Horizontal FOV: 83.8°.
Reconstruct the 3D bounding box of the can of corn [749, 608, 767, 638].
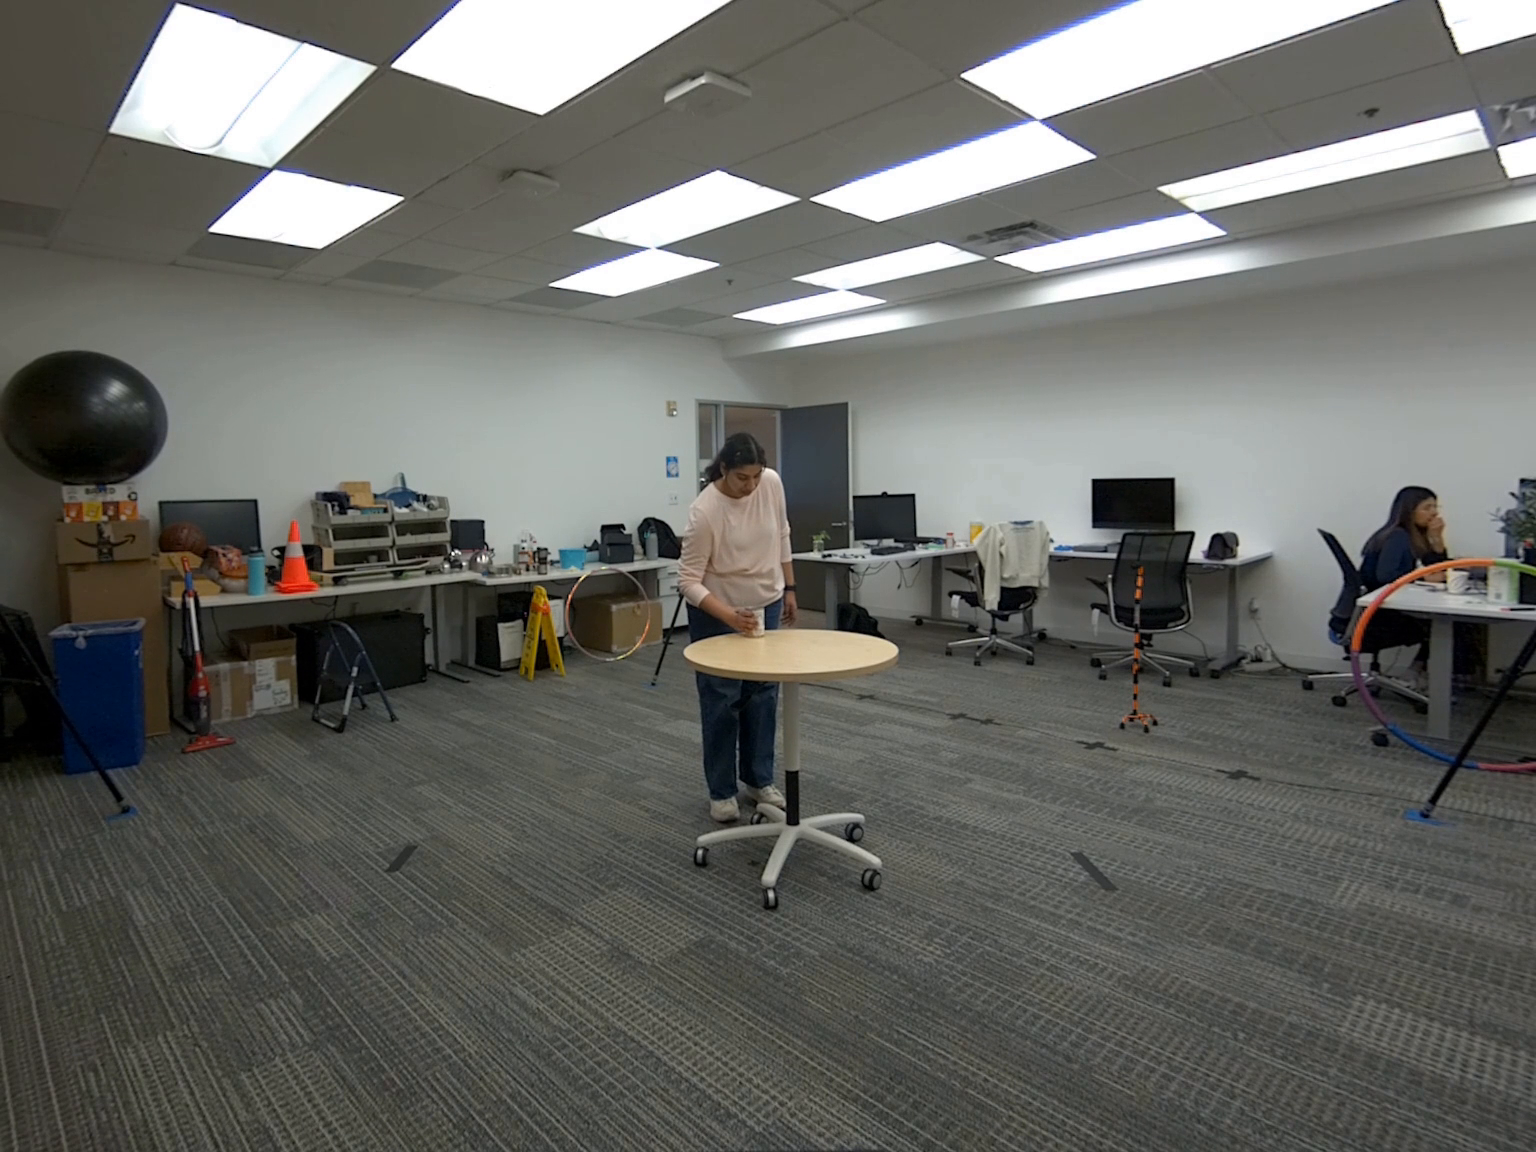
[{"bbox_3d":[-0.065,0.183,3.321,0.074,0.111,0.074,-1,0,-2],"label":"can of corn"}]
